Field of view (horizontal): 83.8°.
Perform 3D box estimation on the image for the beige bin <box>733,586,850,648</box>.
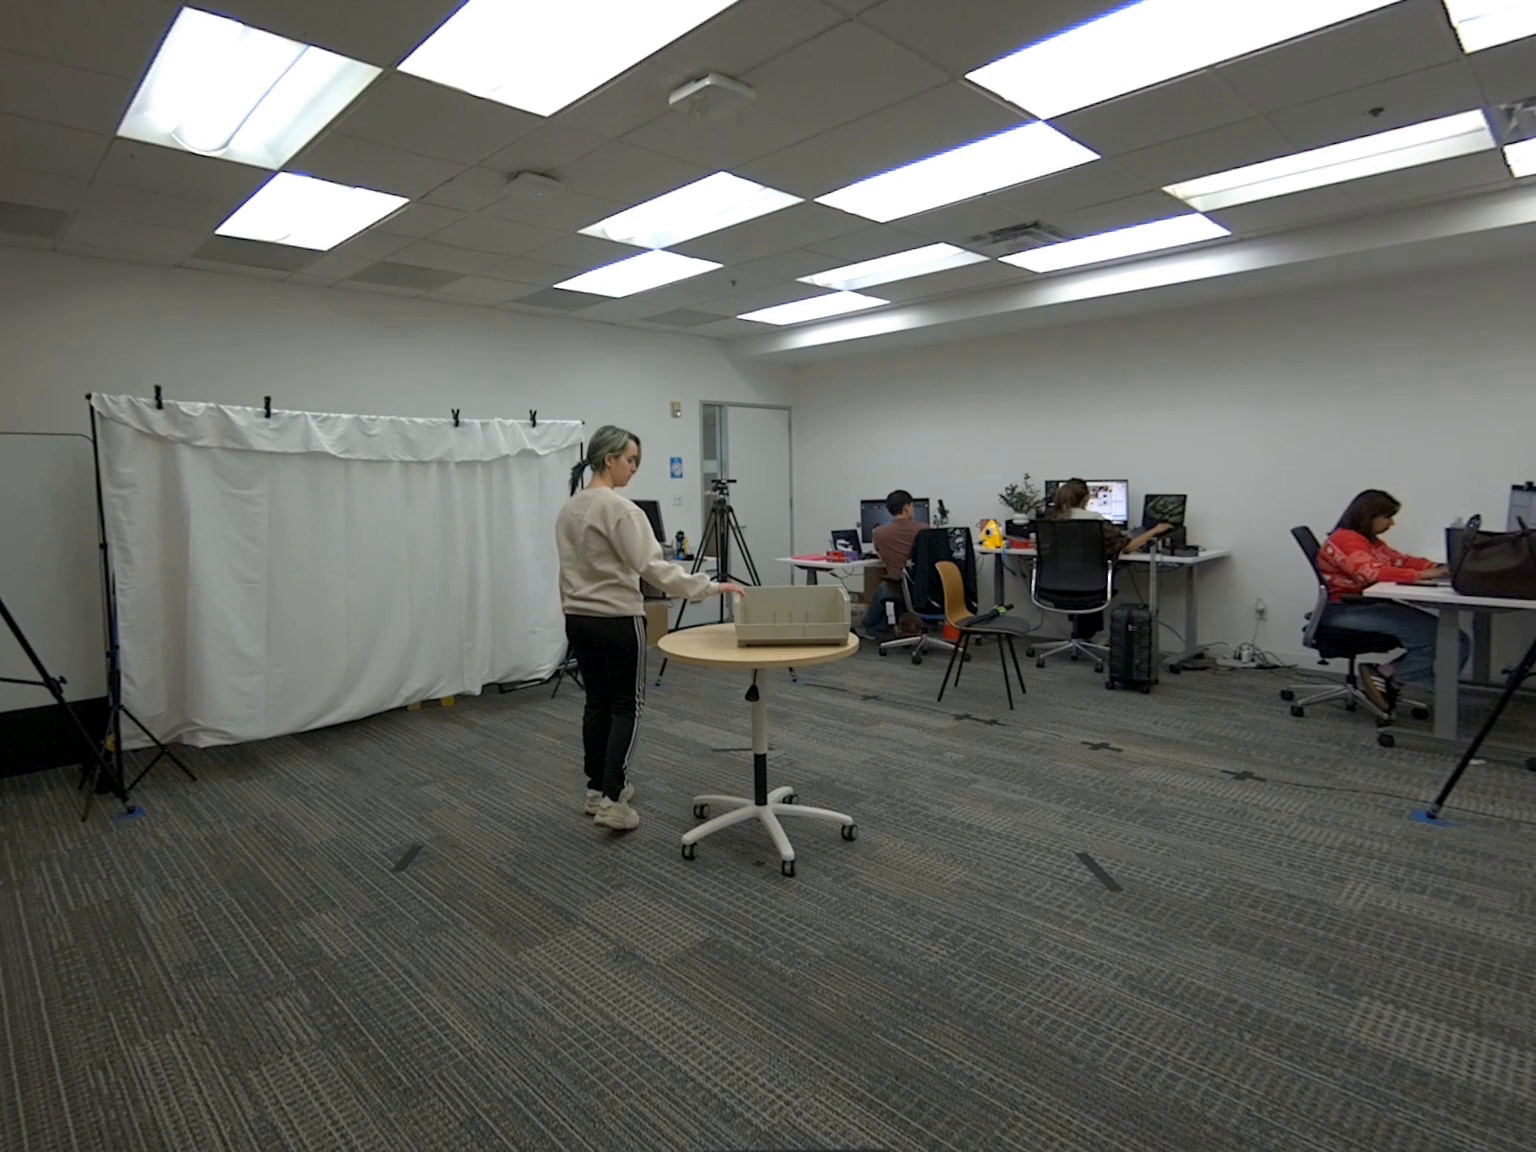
[{"bbox_3d":[0.088,0.150,3.253,0.424,0.188,0.377,-2,4,3],"label":"beige bin"}]
